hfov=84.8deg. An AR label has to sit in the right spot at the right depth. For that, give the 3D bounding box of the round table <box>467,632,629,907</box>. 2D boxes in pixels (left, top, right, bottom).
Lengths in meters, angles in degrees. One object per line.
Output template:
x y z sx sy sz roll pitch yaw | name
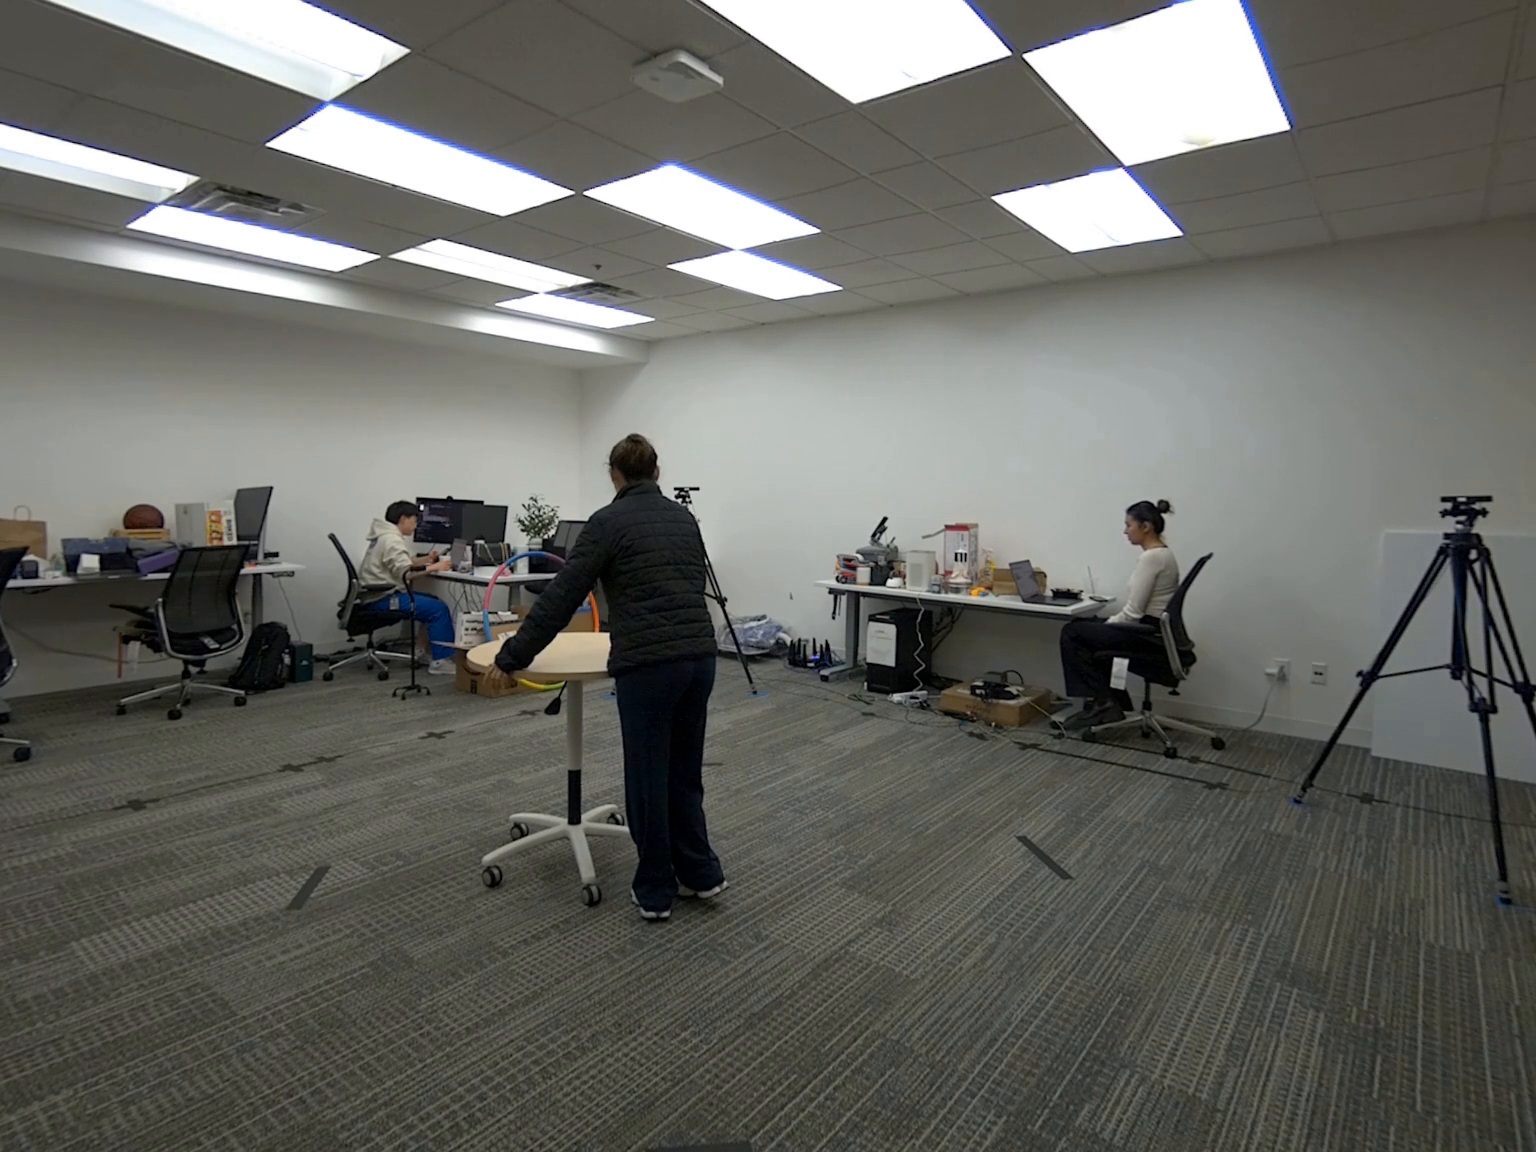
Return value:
-0.690 0.660 3.160 0.784 0.784 0.789 0 4 -2 | round table
